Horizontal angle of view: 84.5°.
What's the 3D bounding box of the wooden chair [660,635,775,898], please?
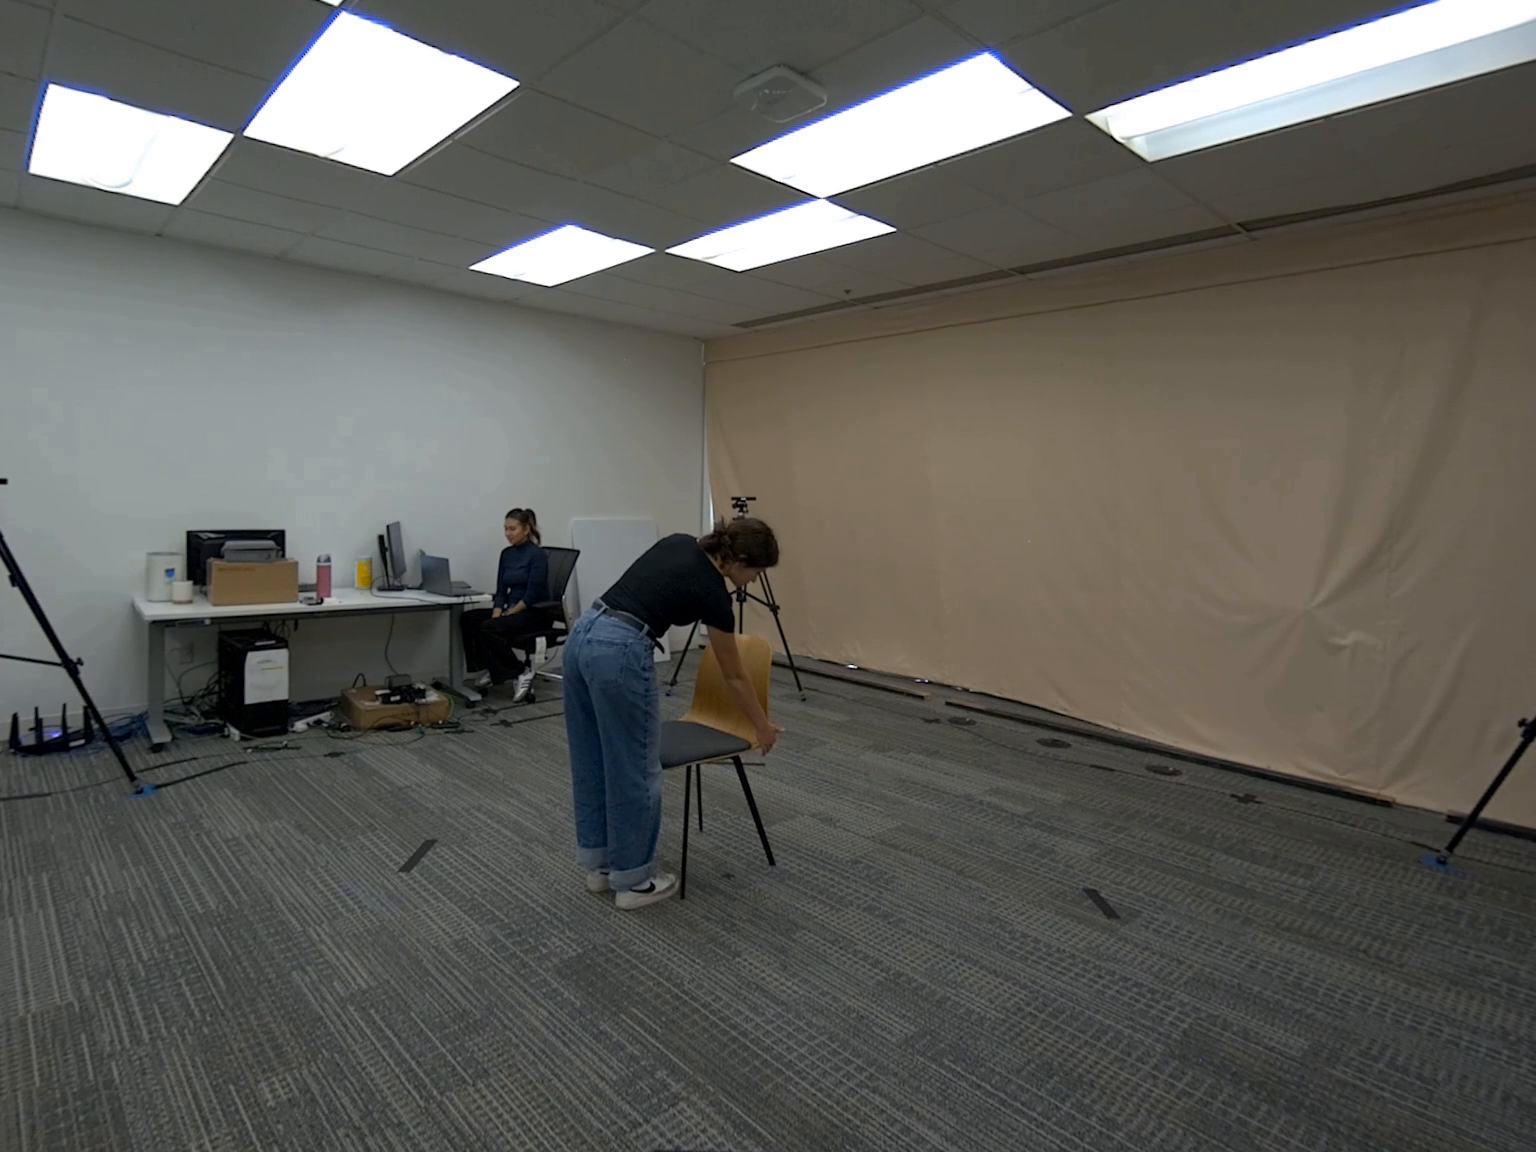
[{"bbox_3d":[-0.289,0.671,3.190,0.510,0.877,0.490,4,1,-43],"label":"wooden chair"}]
